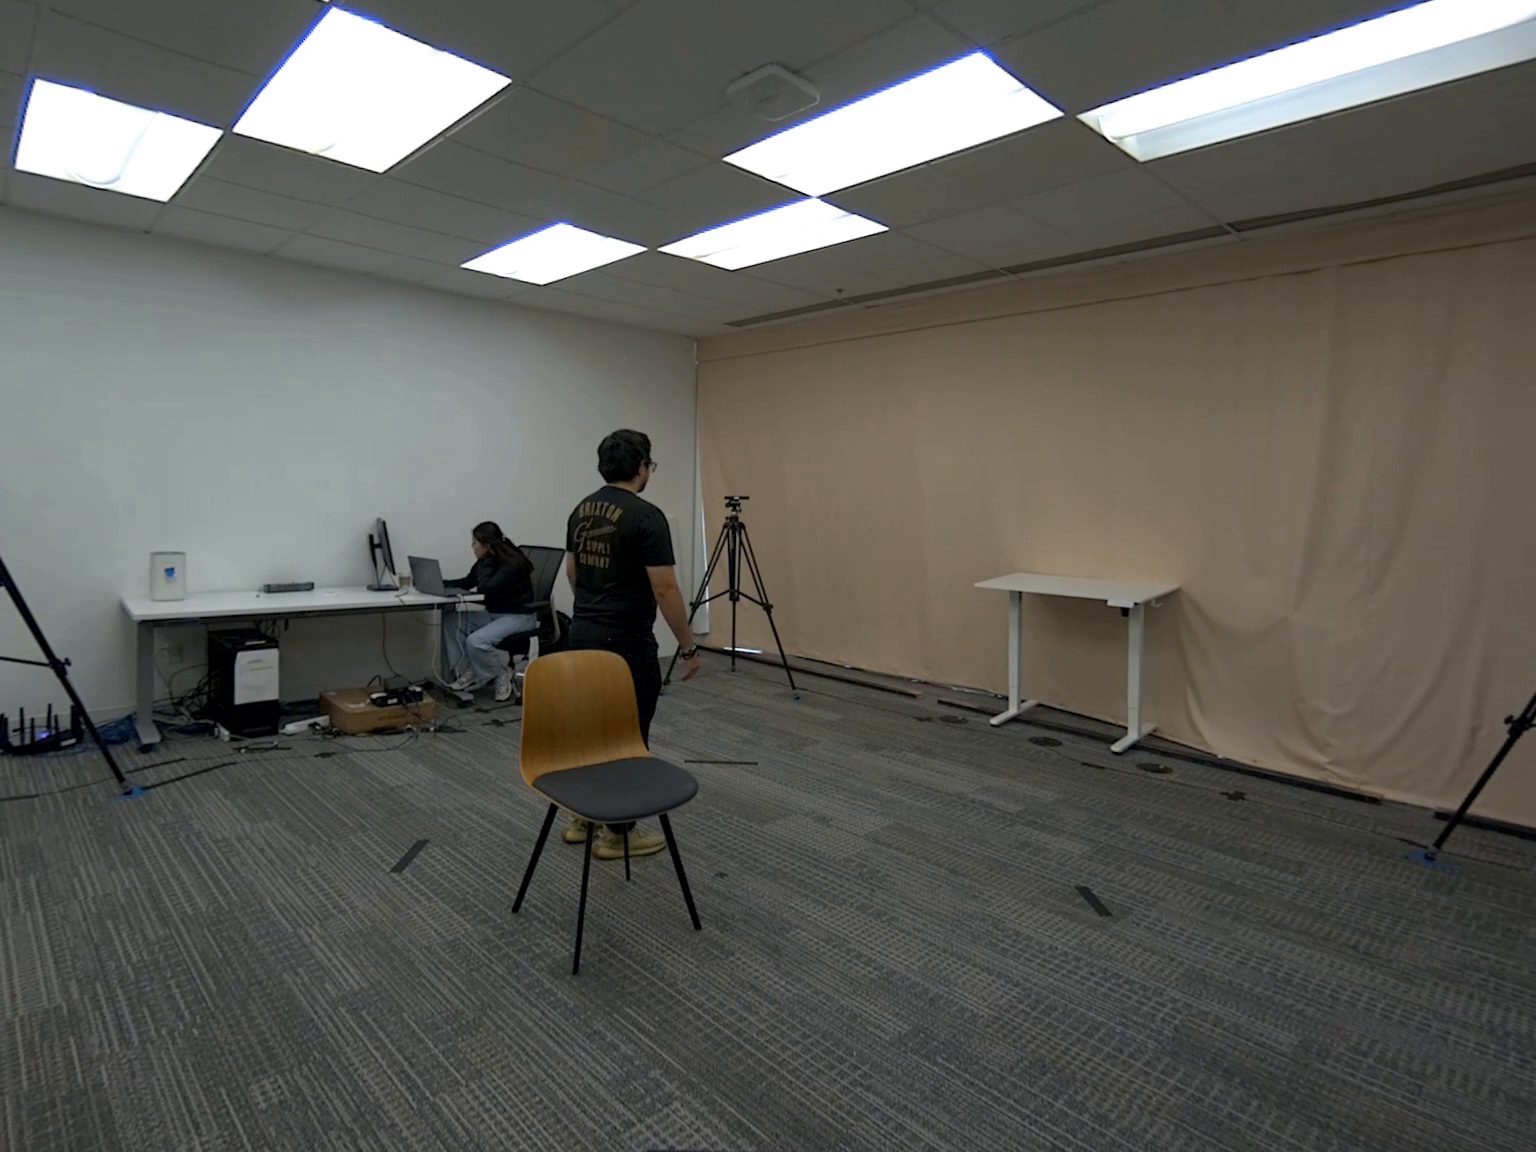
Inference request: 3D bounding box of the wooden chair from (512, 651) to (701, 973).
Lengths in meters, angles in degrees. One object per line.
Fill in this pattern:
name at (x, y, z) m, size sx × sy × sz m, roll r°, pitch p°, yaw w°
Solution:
wooden chair at (-0.521, 0.705, 2.708) m, size 0.467 × 0.877 × 0.535 m, roll -2°, pitch 0°, yaw -40°
